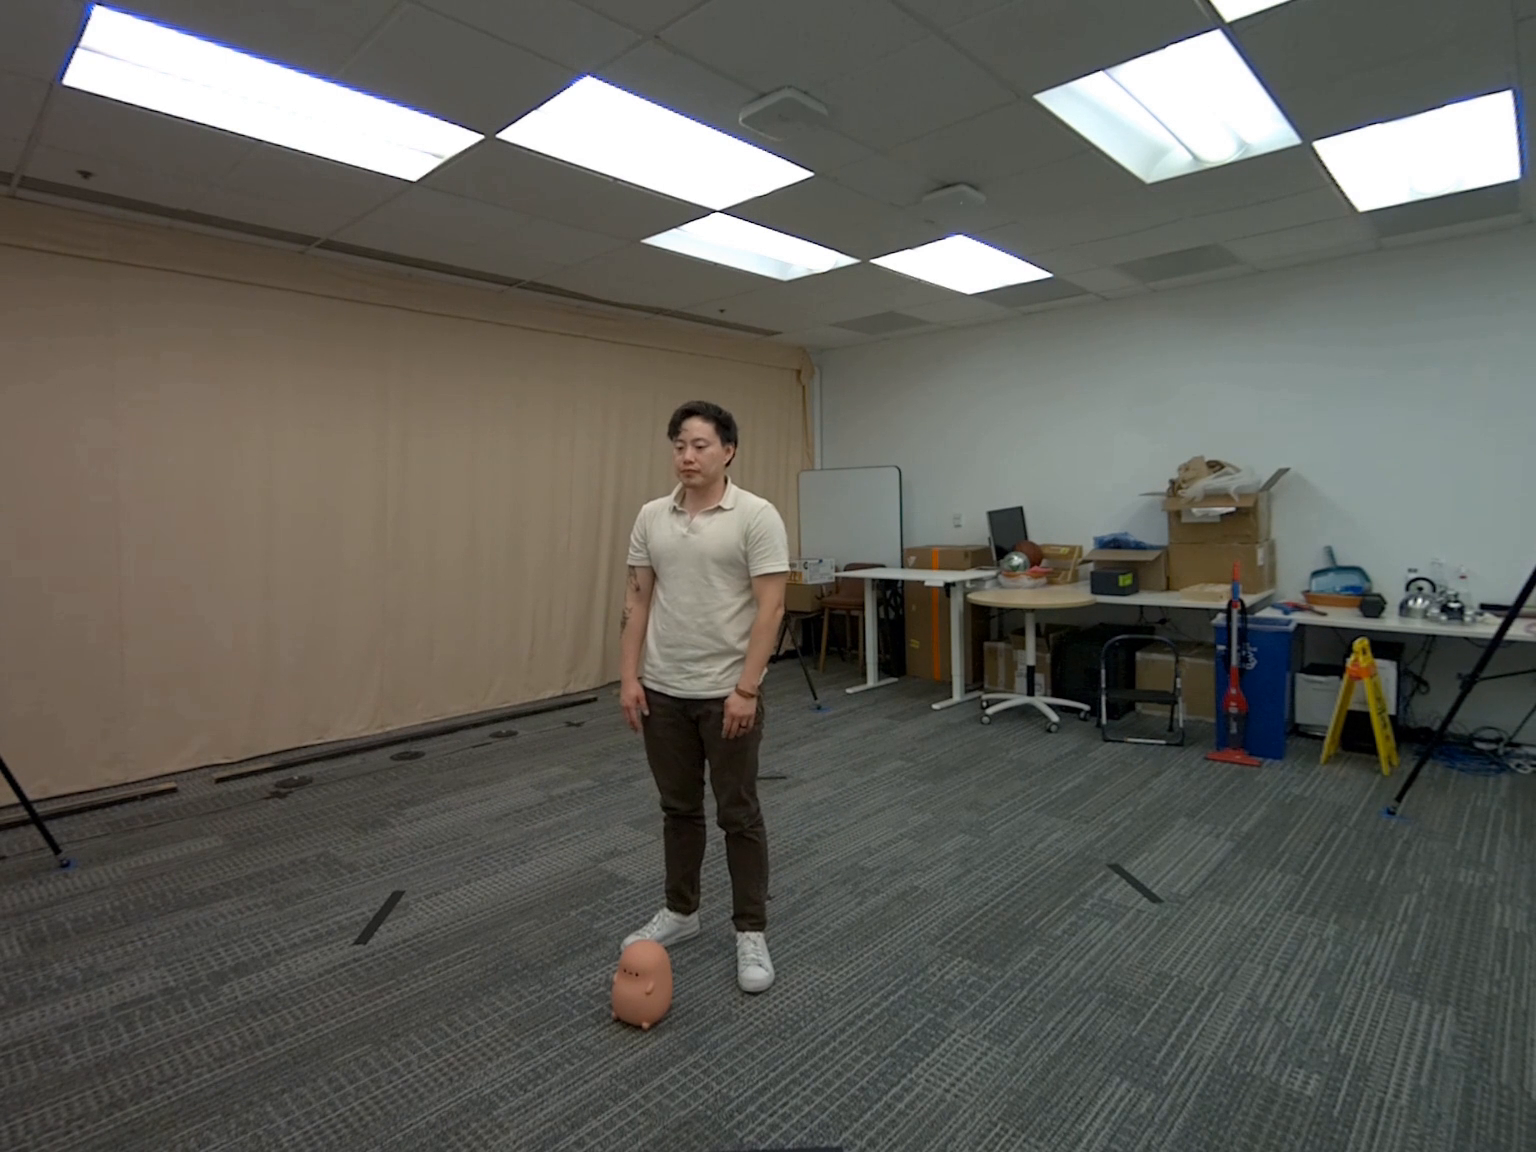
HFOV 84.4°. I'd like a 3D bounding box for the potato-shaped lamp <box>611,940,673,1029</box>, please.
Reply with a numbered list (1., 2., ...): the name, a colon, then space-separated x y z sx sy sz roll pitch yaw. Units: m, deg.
1. potato-shaped lamp: -0.348 1.106 2.306 0.169 0.198 0.167 -2 3 28
